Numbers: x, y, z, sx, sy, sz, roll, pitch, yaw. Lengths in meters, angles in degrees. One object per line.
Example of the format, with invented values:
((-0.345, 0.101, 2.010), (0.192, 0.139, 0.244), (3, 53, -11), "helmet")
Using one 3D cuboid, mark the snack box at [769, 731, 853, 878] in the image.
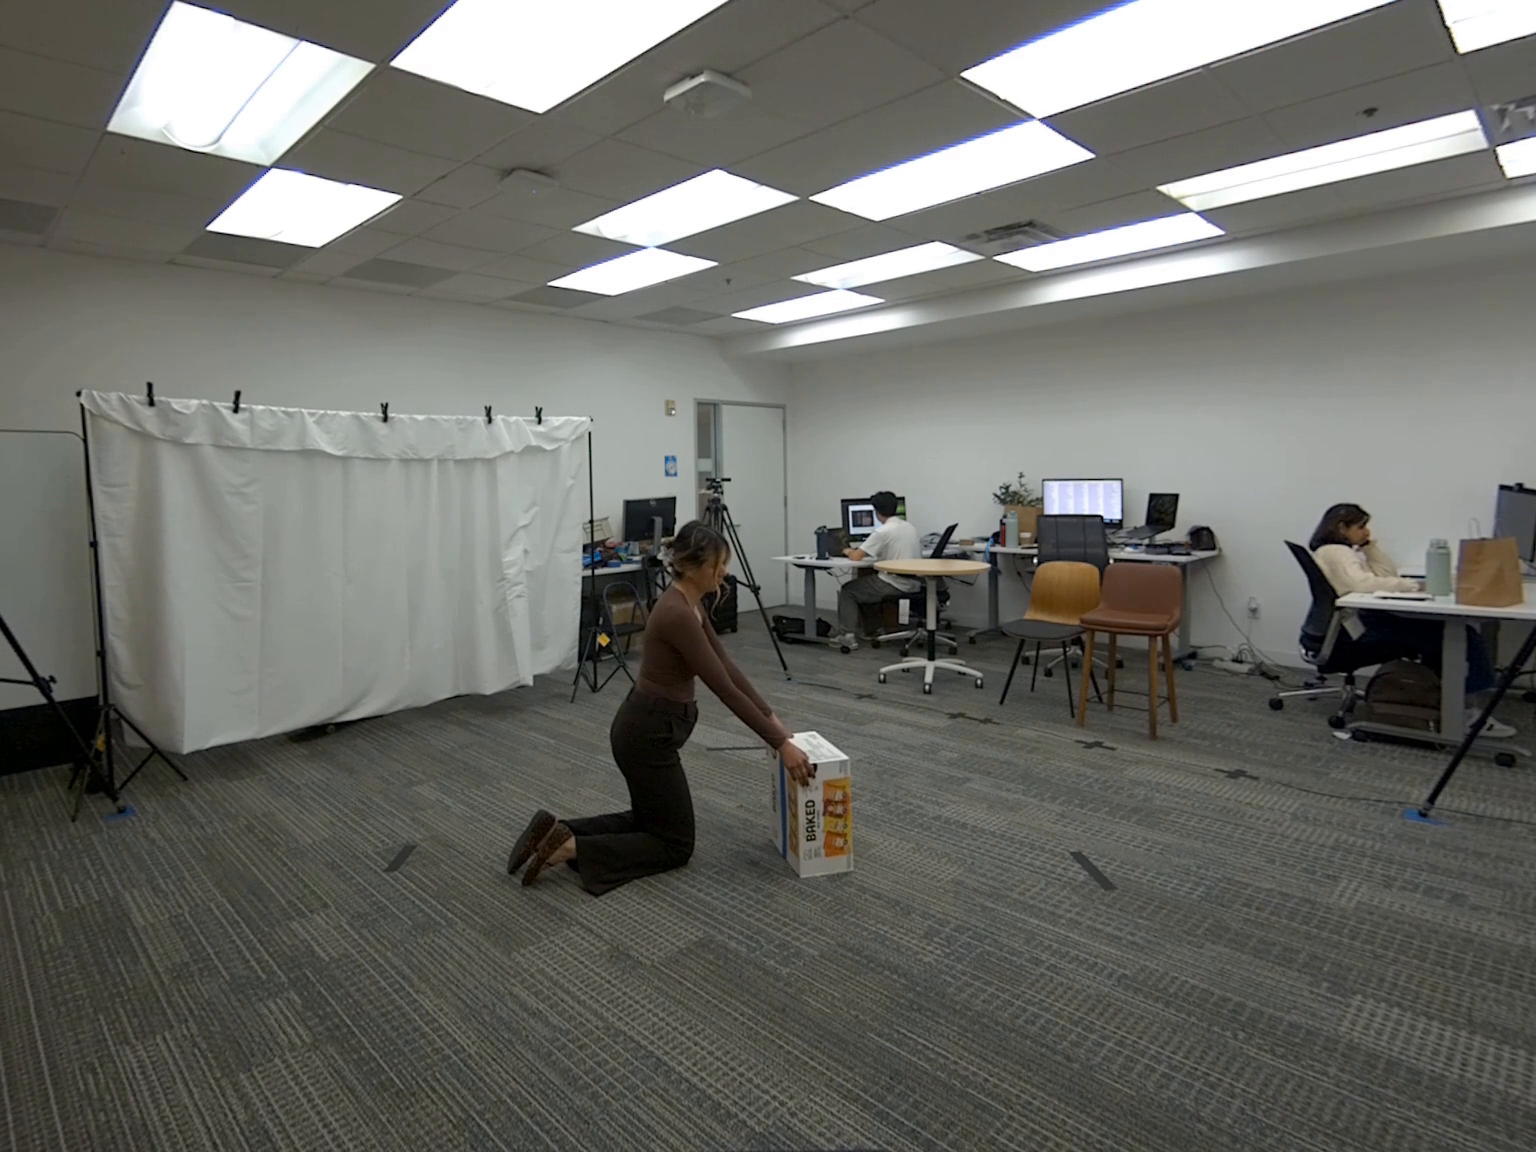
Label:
((0.150, 0.825, 3.151), (0.203, 0.404, 0.346), (-3, 5, -17), "snack box")
